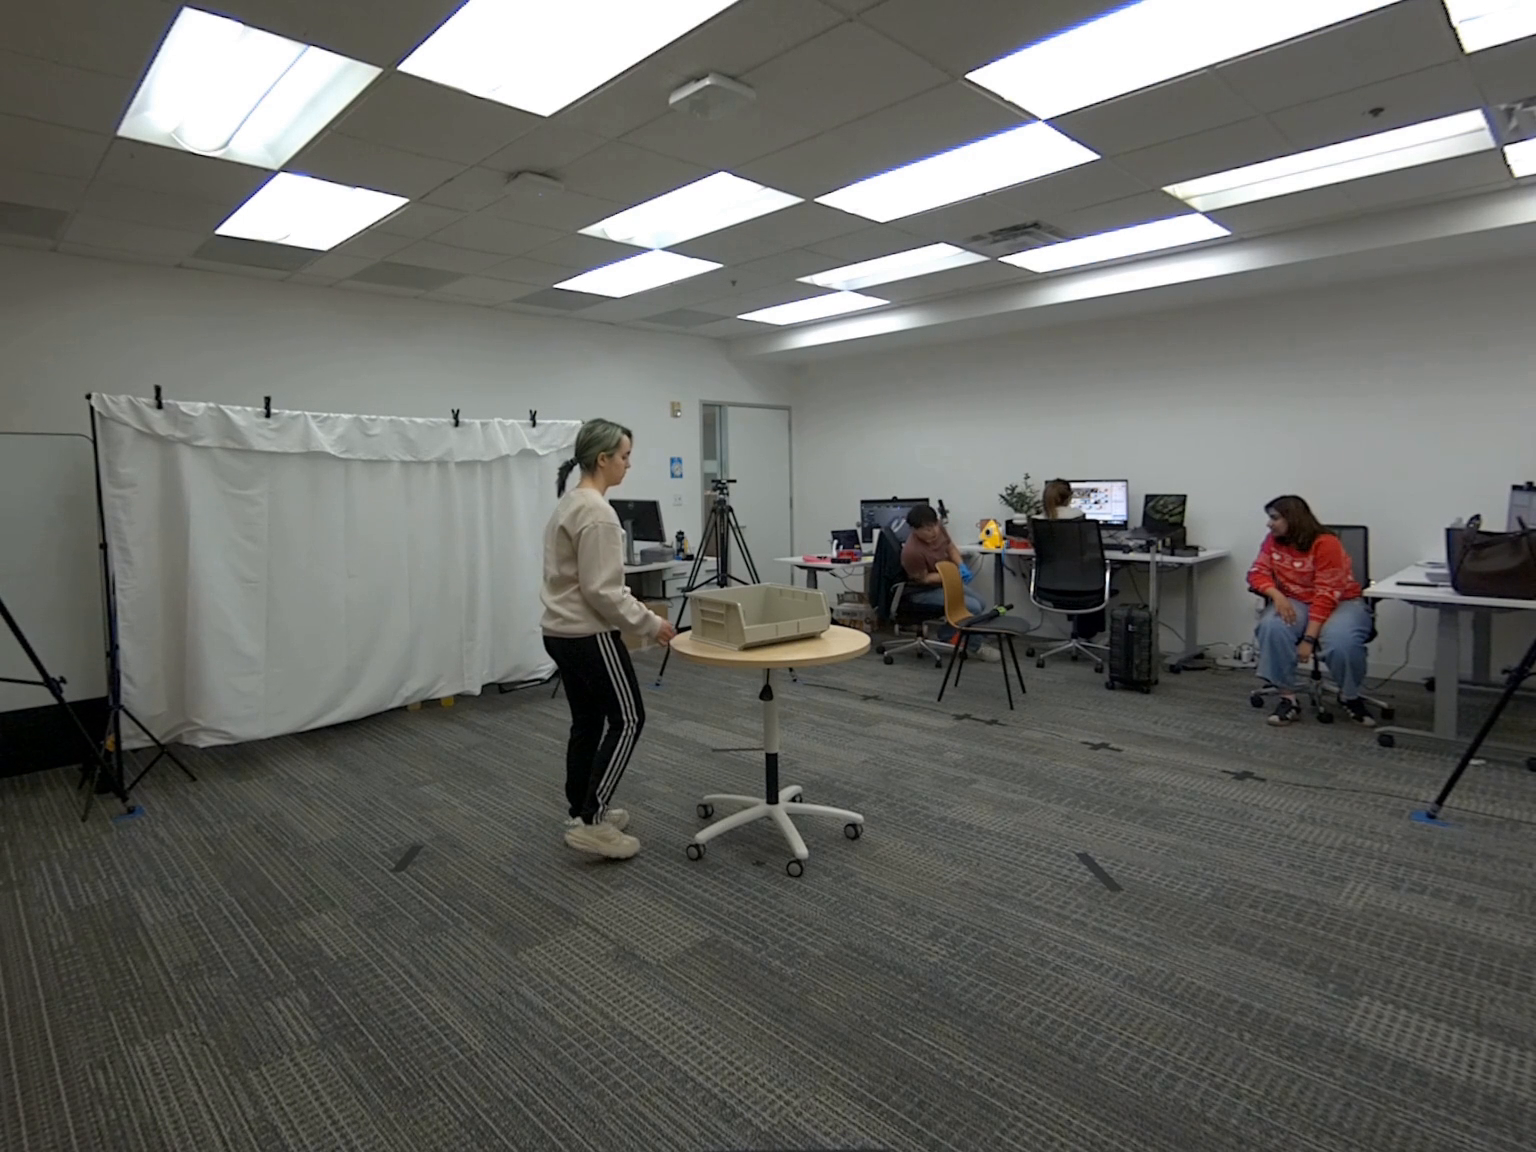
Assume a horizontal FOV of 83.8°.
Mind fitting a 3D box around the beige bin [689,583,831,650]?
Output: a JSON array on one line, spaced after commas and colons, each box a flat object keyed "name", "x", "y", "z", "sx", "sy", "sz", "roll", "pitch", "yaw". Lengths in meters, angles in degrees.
[{"name": "beige bin", "x": -0.040, "y": 0.153, "z": 3.285, "sx": 0.412, "sy": 0.188, "sz": 0.388, "roll": -7, "pitch": 7, "yaw": -37}]
